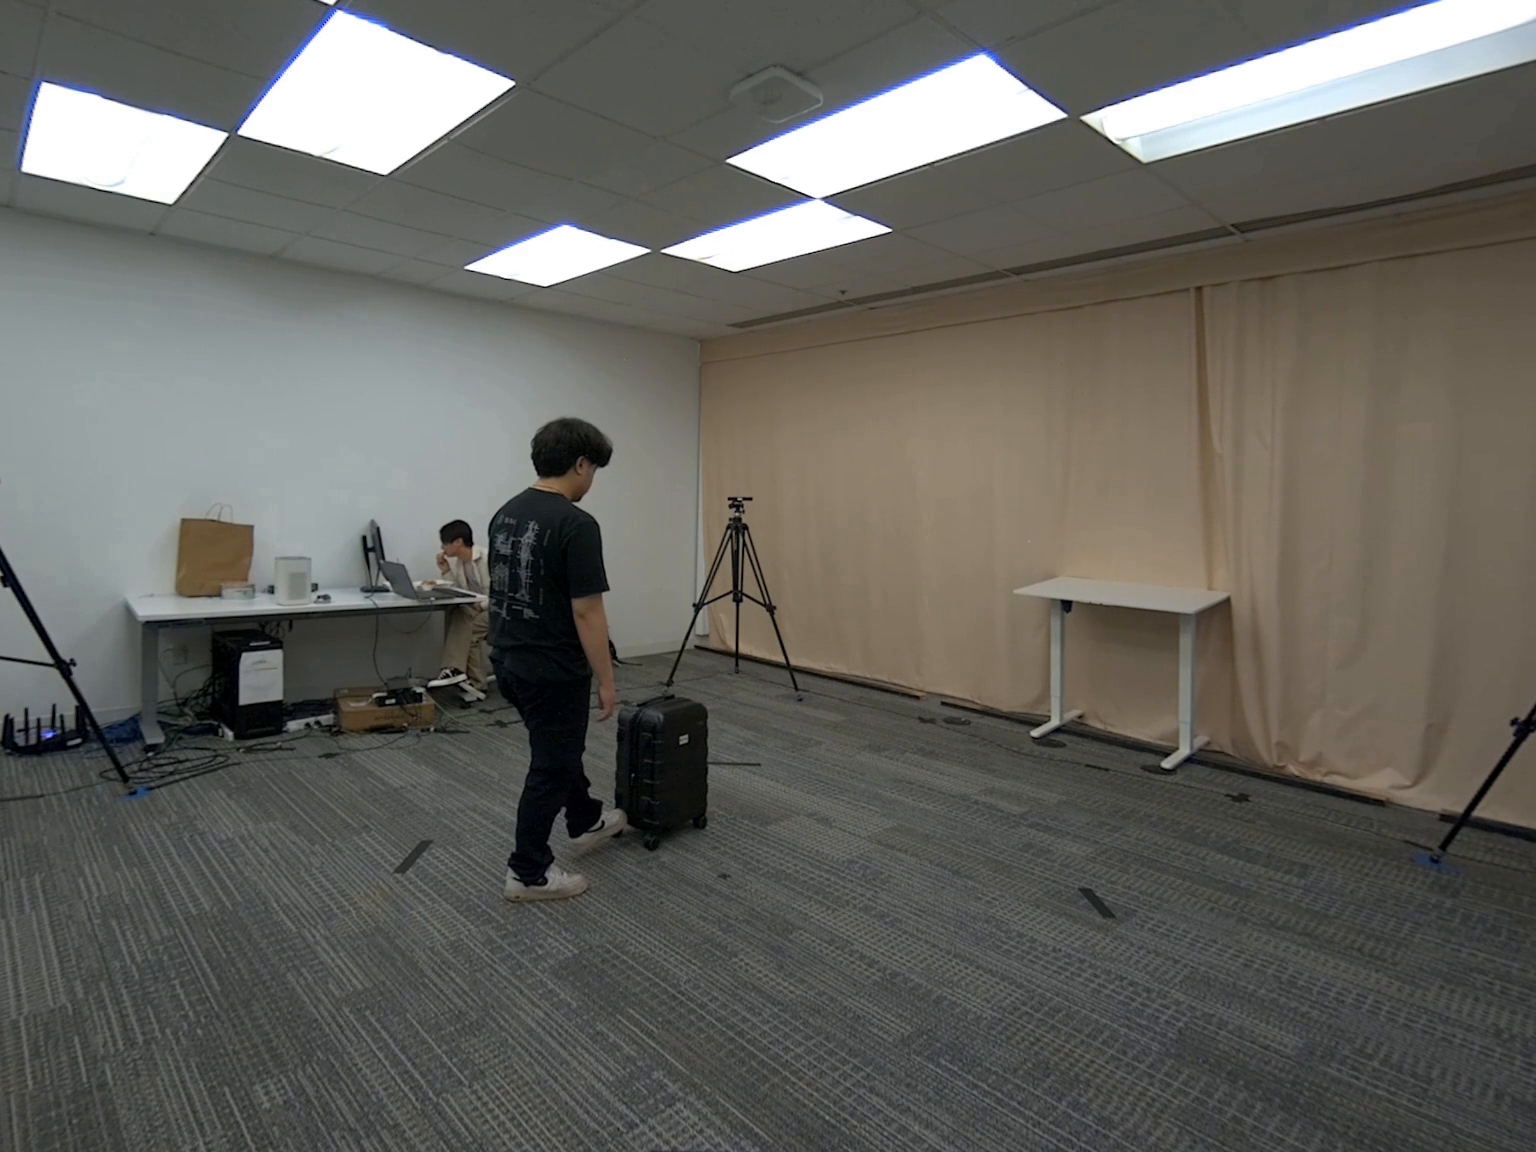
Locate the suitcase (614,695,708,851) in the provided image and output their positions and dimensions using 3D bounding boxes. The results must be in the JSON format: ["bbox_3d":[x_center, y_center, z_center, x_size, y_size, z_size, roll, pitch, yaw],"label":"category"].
[{"bbox_3d":[-0.451,0.789,3.512,0.254,0.549,0.367,4,2,36],"label":"suitcase"}]
